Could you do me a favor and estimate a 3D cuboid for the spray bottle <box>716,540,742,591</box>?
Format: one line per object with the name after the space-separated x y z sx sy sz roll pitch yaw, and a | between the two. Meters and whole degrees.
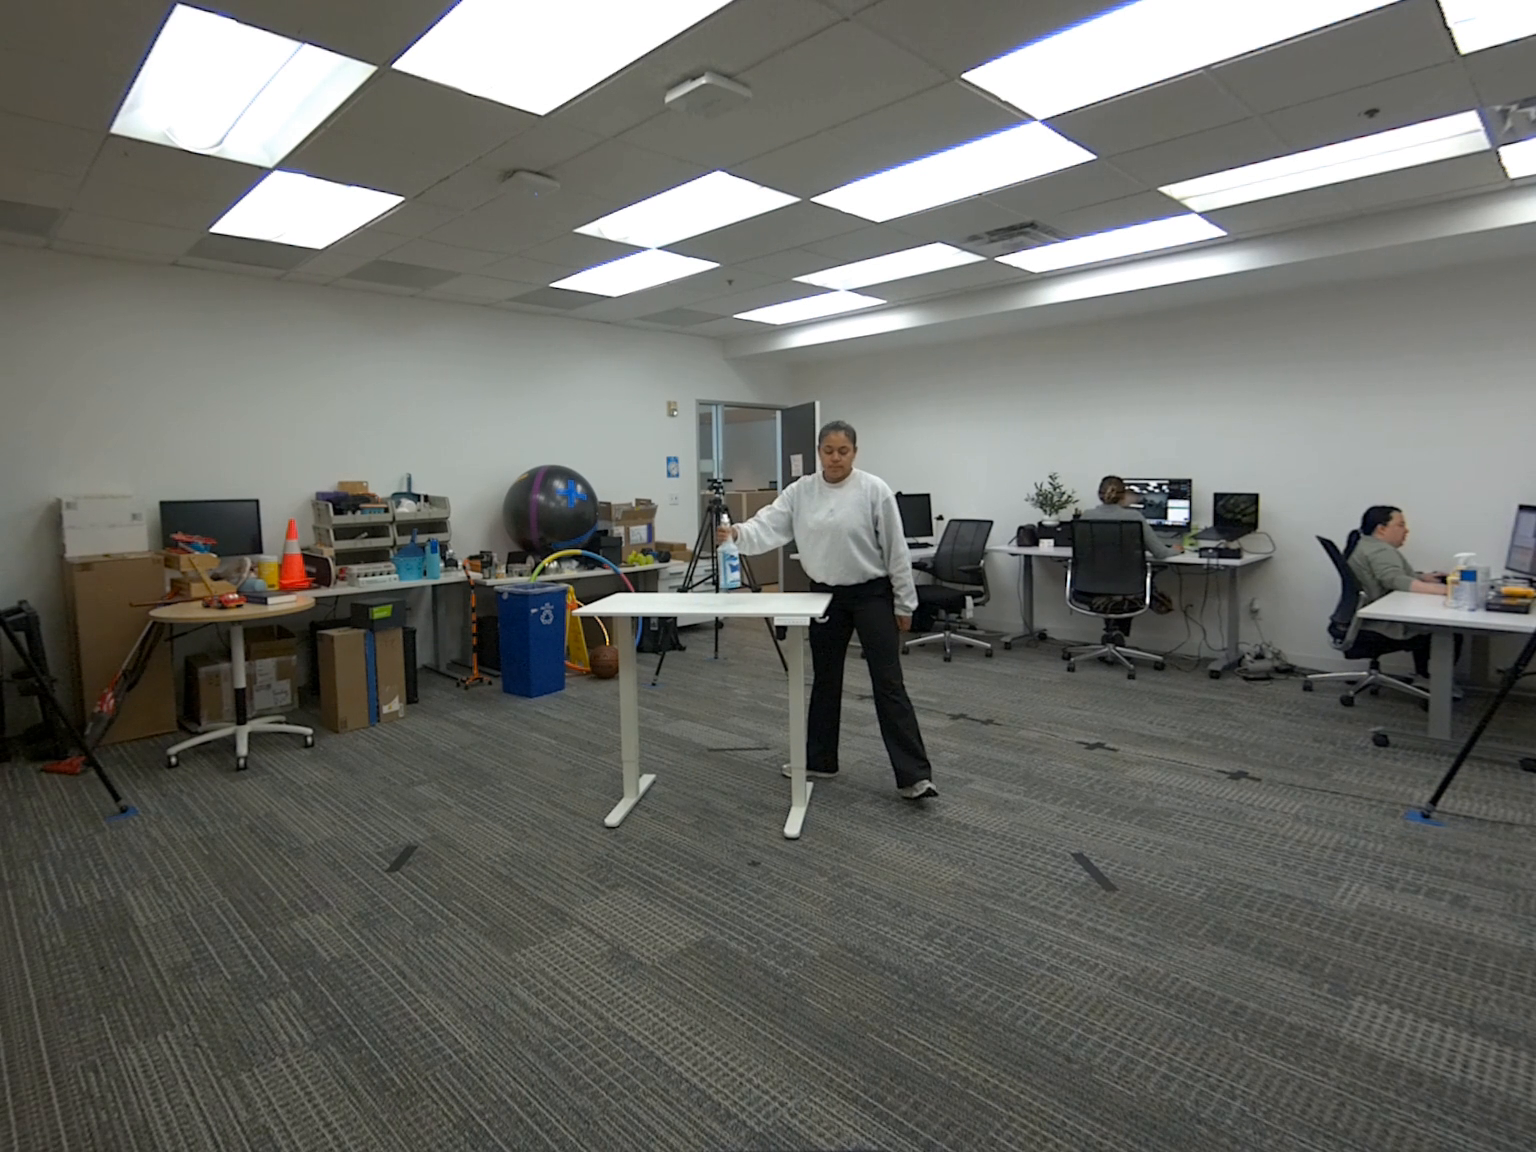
-0.151 -0.105 3.491 0.089 0.297 0.088 -1 2 22 | spray bottle
